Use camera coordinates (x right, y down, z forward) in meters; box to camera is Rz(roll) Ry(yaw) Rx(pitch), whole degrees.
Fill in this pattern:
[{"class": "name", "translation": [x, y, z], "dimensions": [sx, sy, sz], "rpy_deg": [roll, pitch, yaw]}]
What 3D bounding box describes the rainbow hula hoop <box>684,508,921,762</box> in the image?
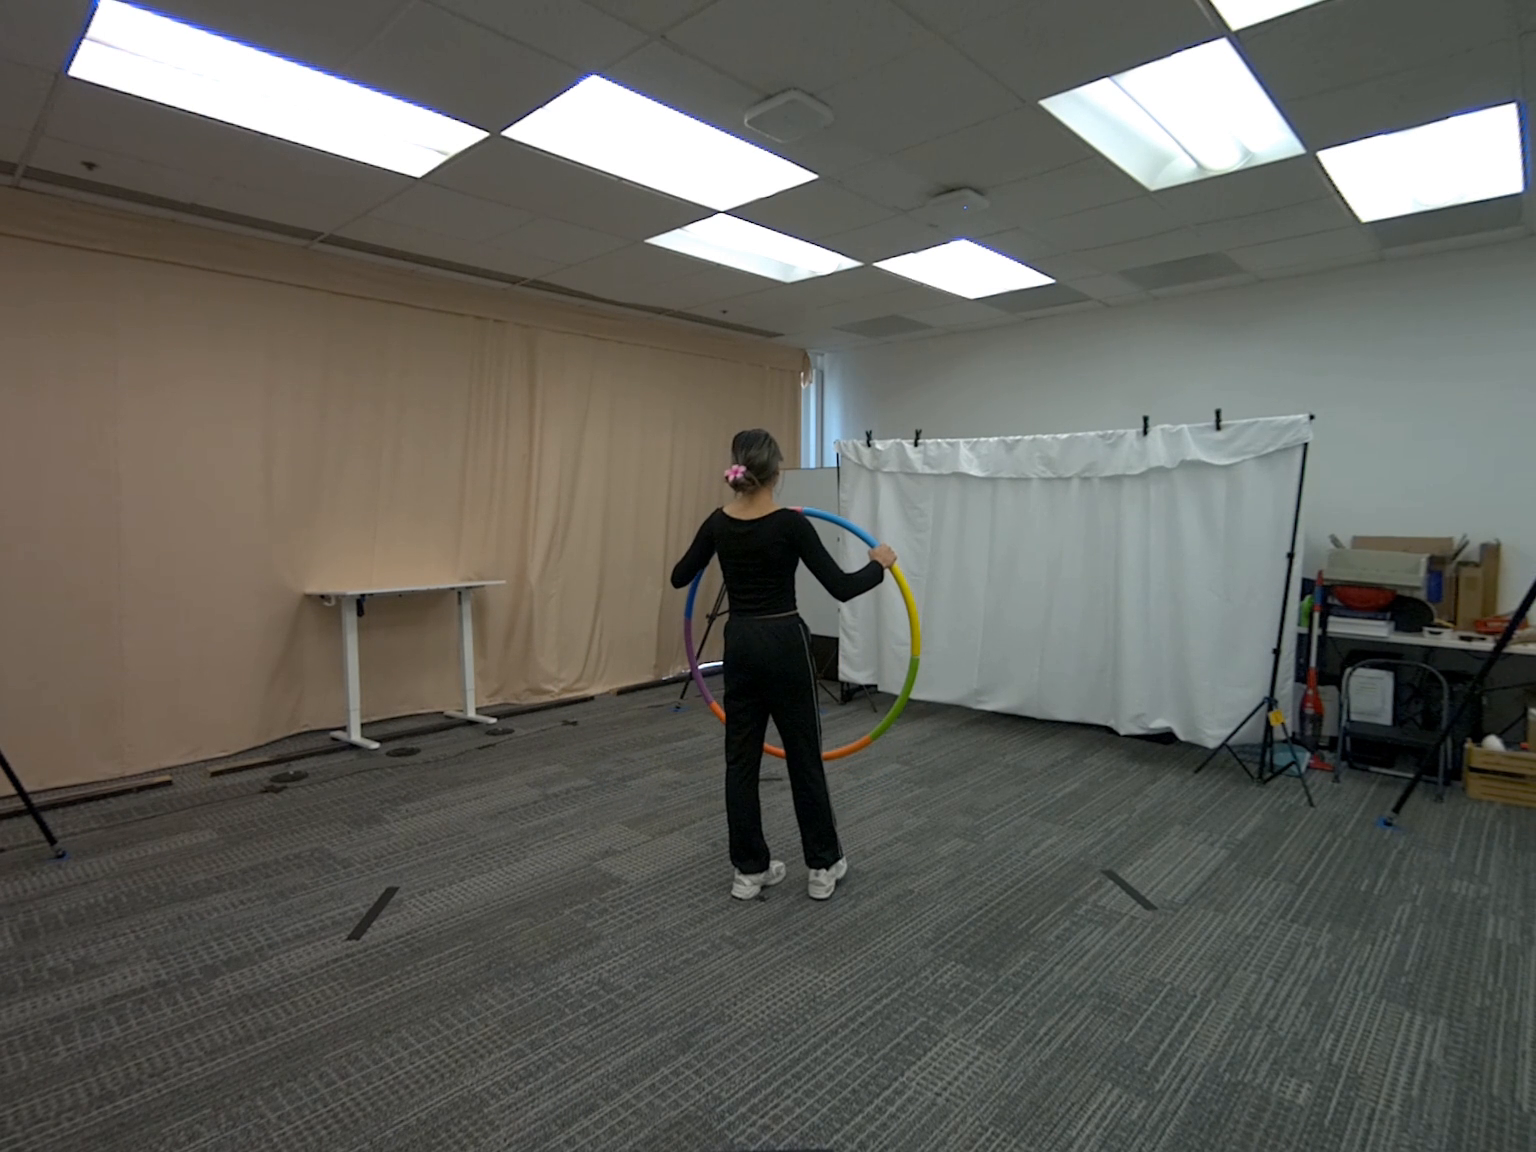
[{"class": "rainbow hula hoop", "translation": [0.106, 0.228, 3.268], "dimensions": [1.004, 0.975, 0.035], "rpy_deg": [2, 6, 26]}]
